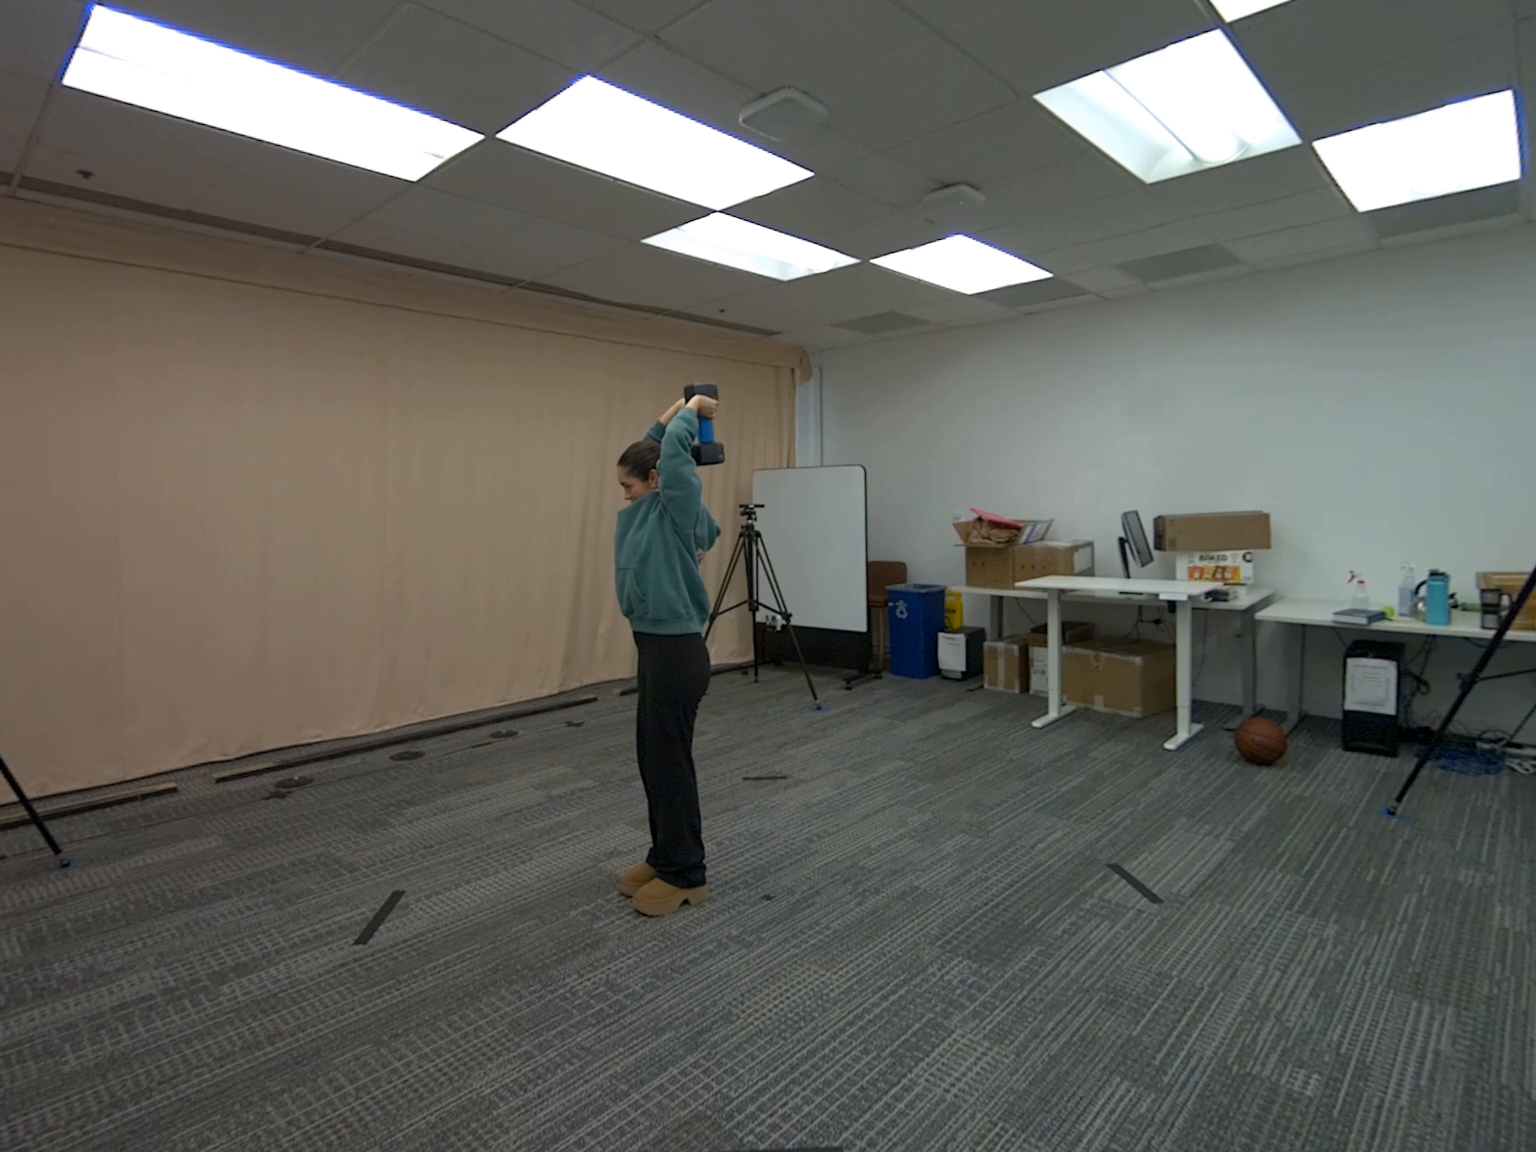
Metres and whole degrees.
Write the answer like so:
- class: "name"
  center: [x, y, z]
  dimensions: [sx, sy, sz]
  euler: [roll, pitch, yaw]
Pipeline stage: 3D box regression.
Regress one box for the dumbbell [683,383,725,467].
- class: "dumbbell"
  center: [-0.231, -0.546, 3.011]
  dimensions: [0.121, 0.293, 0.111]
  euler: [-6, 4, -16]
